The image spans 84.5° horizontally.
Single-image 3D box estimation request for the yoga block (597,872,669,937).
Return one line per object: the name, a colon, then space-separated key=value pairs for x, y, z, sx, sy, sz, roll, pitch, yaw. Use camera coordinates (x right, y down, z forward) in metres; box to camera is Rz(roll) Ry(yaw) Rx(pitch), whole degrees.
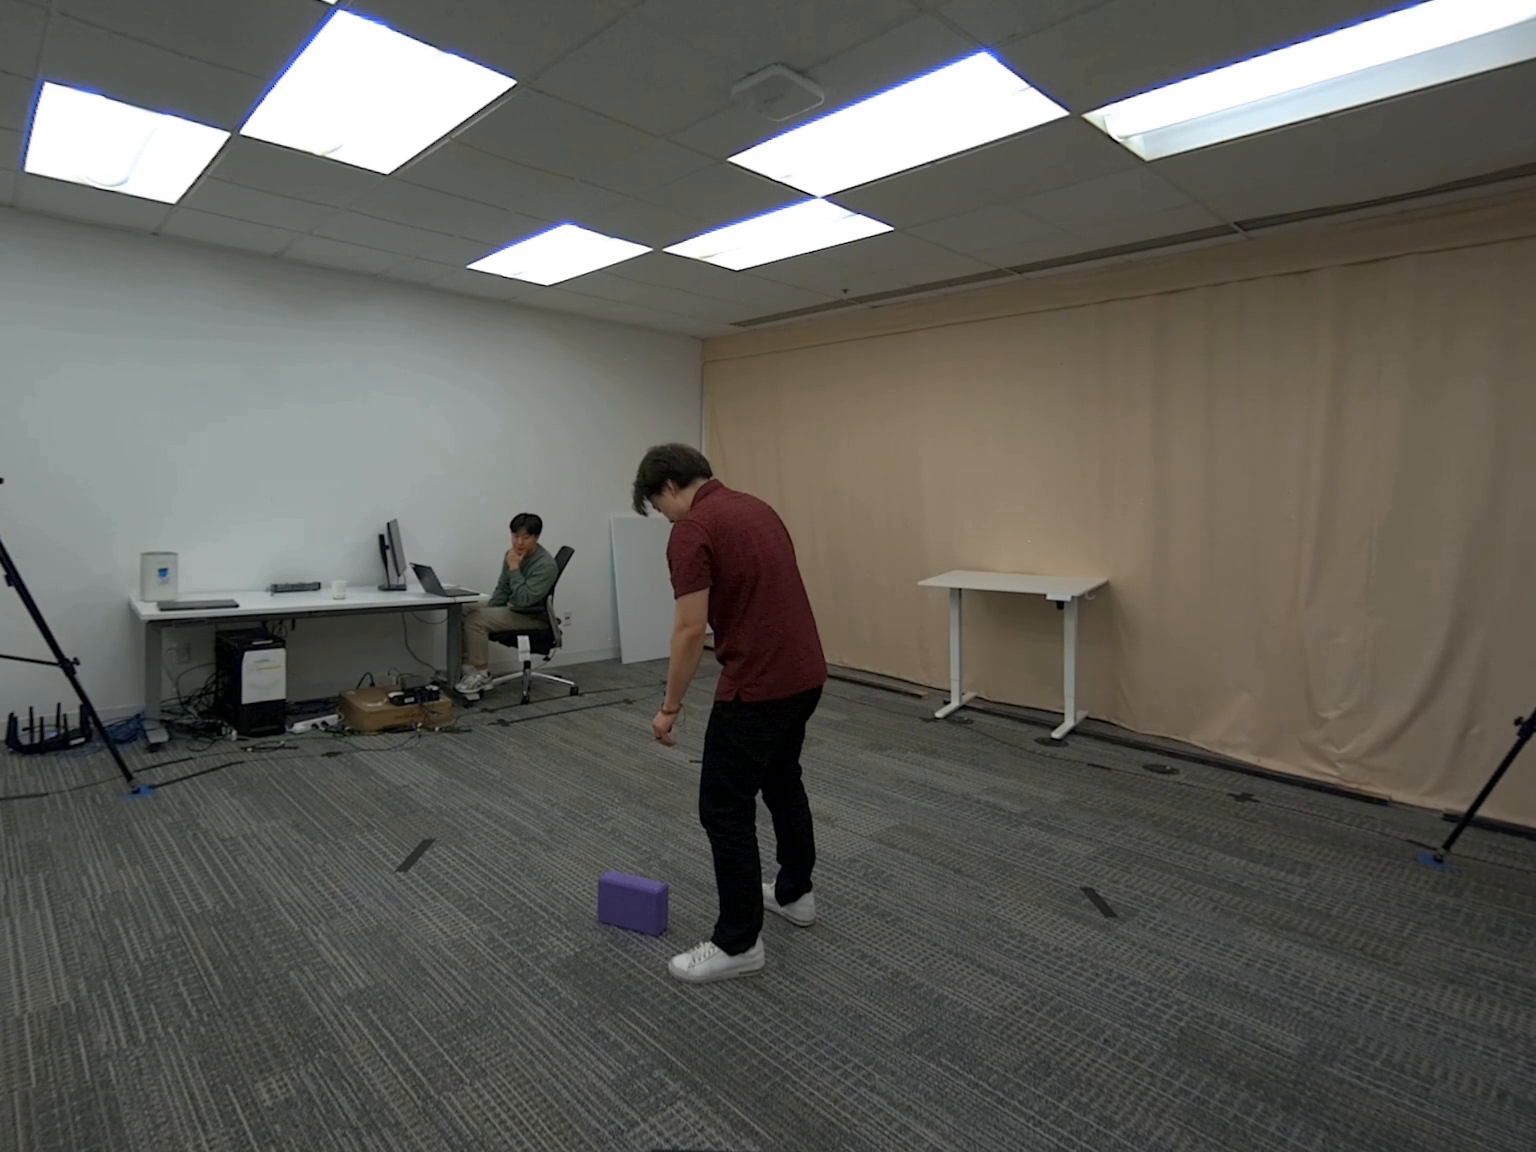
yoga block: x=-0.443 y=1.052 z=2.725 sx=0.233 sy=0.148 sz=0.075 roll=2 pitch=5 yaw=24
